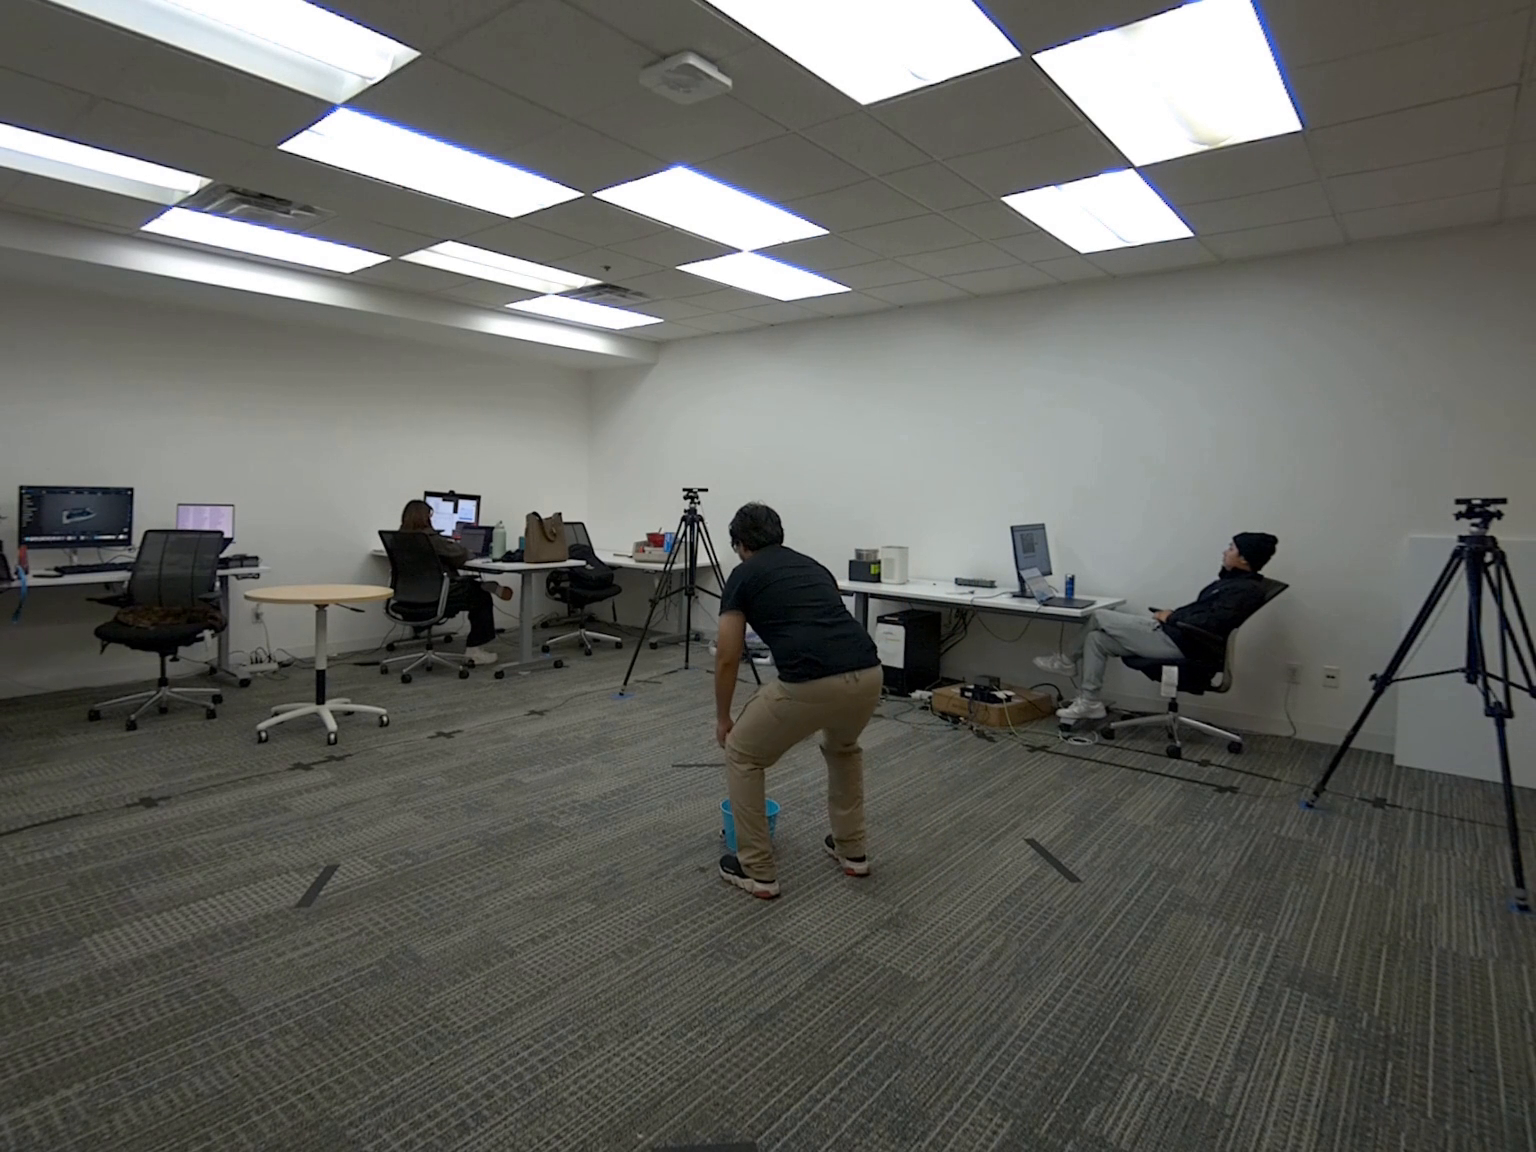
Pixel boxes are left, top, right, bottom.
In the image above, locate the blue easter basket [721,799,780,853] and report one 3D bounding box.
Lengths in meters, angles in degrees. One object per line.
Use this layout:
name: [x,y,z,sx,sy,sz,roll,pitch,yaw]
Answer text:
blue easter basket: [-0.085,0.967,3.327,0.243,0.155,0.245,0,4,-2]
